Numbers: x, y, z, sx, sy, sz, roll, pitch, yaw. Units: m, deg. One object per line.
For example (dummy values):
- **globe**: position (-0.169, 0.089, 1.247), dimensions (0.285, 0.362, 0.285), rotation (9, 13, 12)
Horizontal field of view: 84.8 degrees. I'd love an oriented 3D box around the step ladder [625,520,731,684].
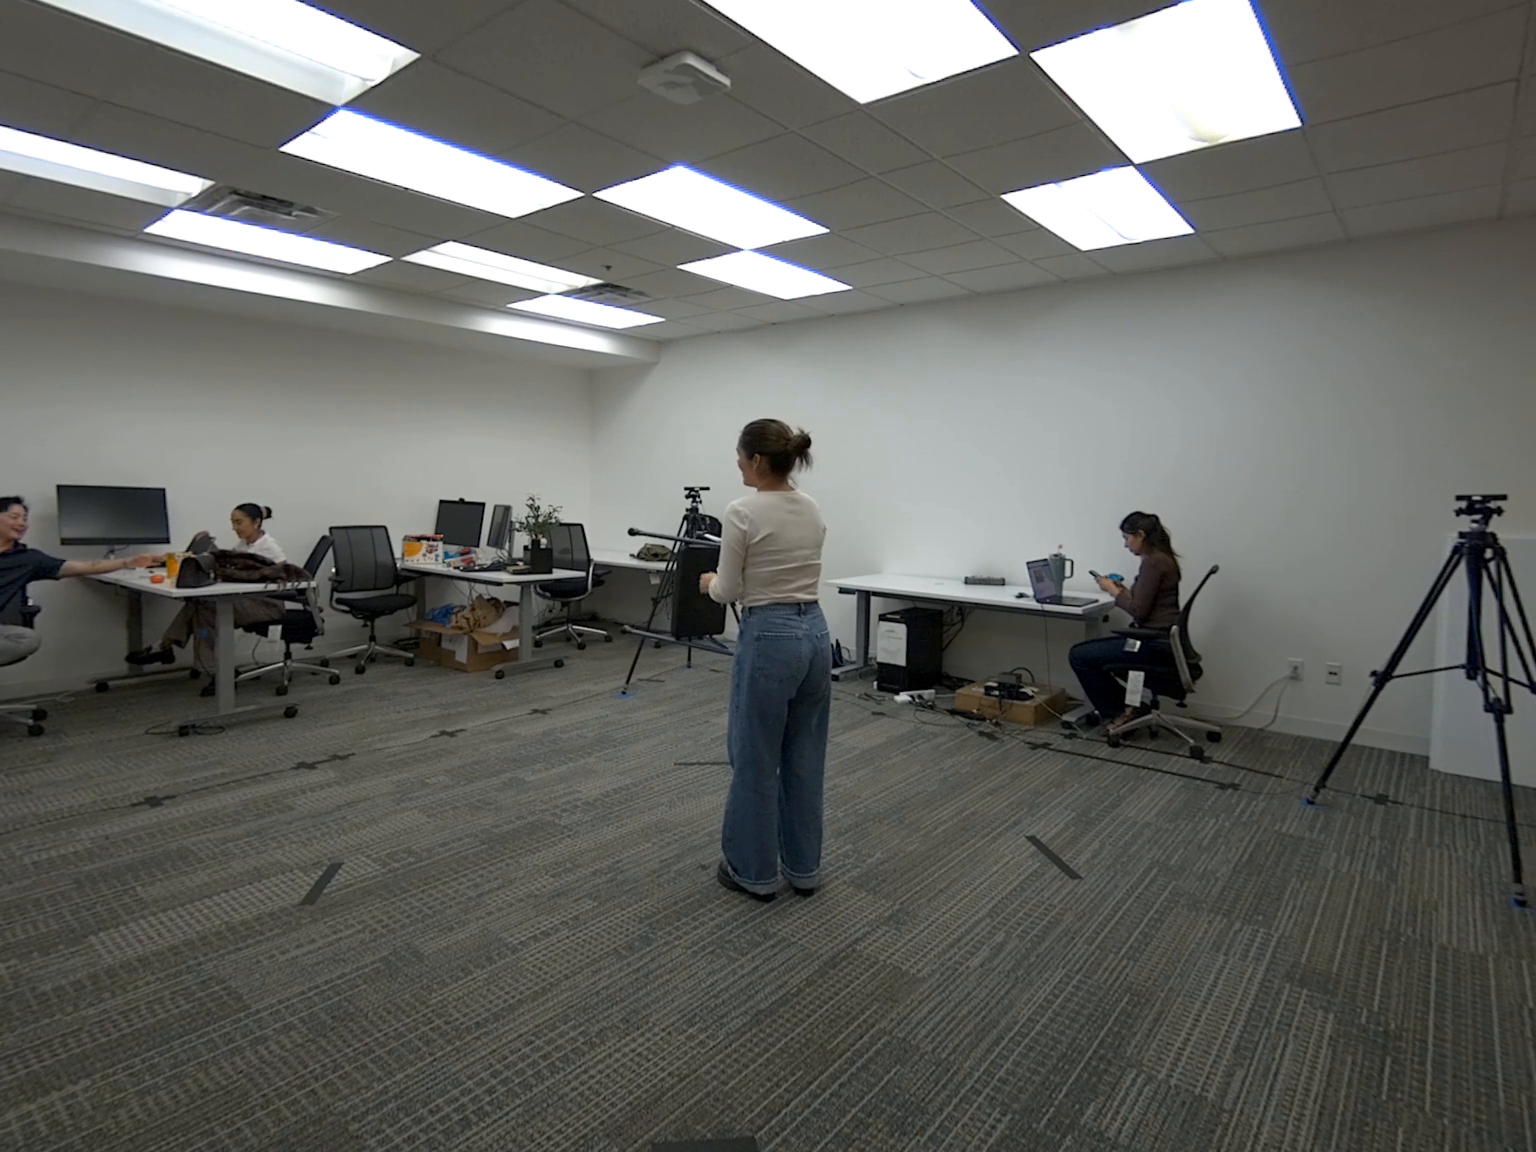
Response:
- **step ladder**: position (-0.250, 0.072, 3.241), dimensions (0.338, 0.428, 0.629), rotation (-1, 10, -40)
